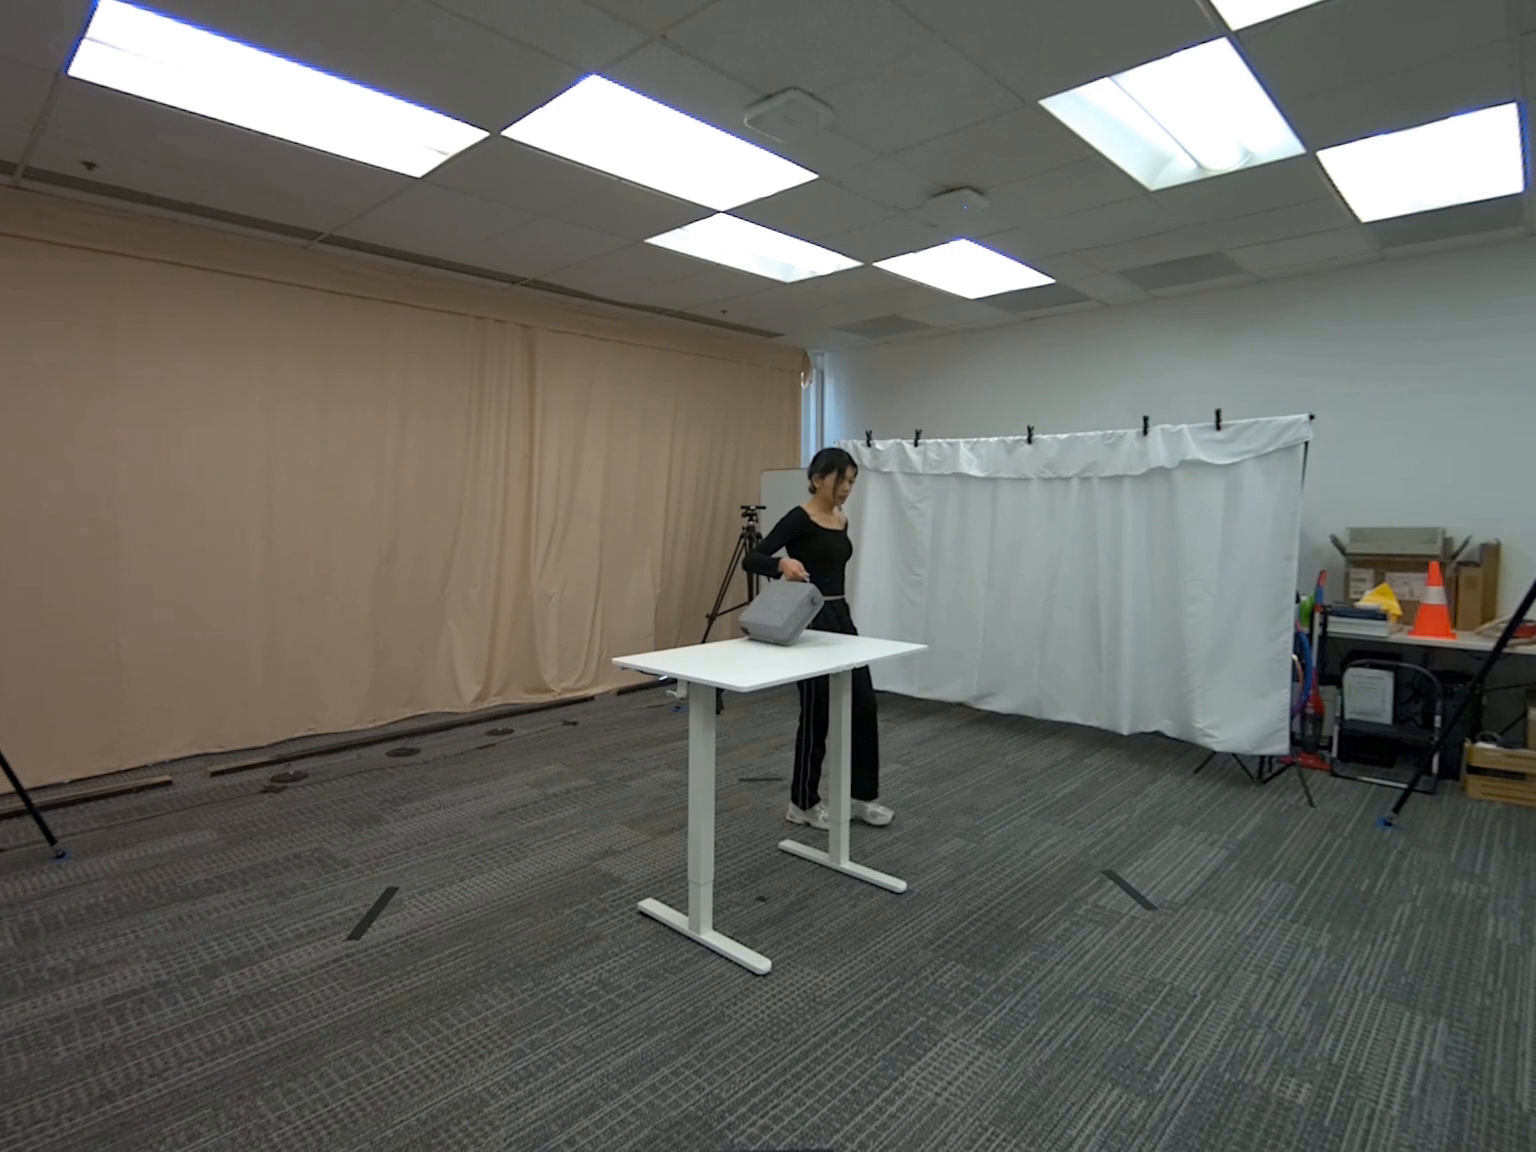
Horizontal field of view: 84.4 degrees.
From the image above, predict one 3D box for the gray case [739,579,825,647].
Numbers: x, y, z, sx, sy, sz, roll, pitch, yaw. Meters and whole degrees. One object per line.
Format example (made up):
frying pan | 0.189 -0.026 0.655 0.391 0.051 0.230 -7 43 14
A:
gray case | 0.052 0.134 3.155 0.265 0.101 0.259 4 45 50
